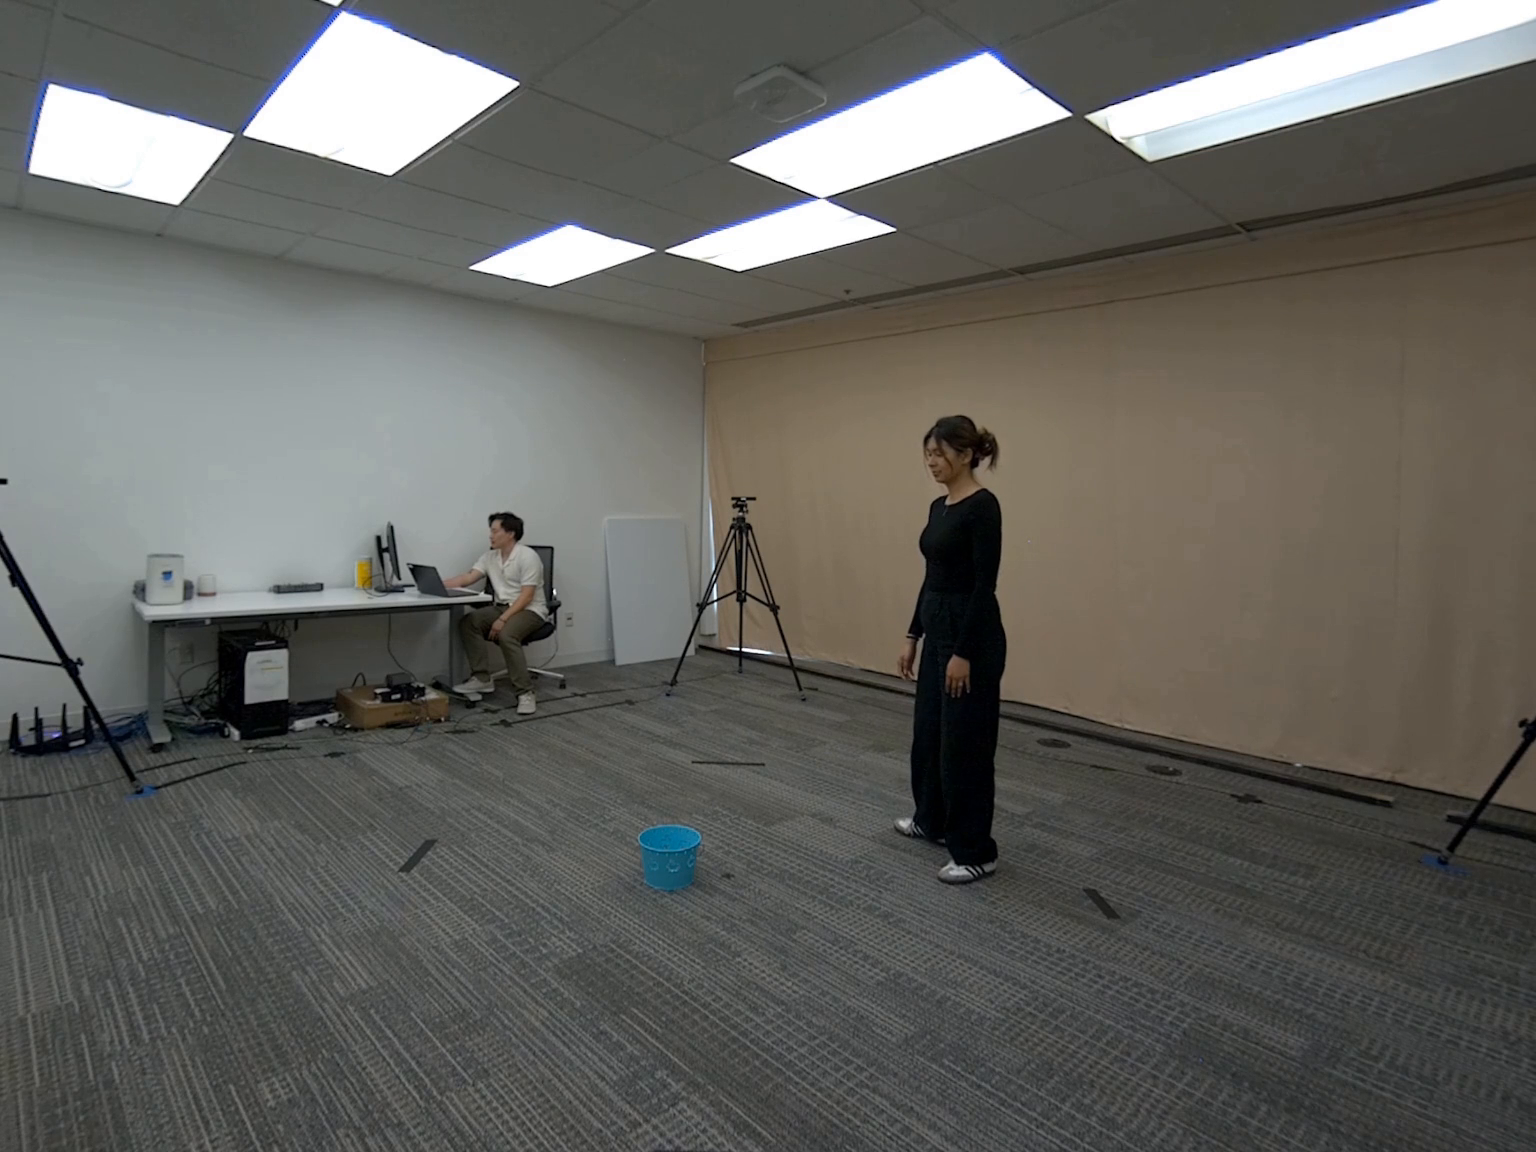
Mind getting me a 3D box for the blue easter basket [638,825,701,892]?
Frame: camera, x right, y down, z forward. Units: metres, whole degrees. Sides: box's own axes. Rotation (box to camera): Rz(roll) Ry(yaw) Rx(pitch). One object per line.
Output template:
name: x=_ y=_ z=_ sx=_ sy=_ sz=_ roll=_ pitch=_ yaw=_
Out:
blue easter basket: x=-0.360 y=1.026 z=3.070 sx=0.243 sy=0.155 sz=0.244 roll=1 pitch=5 yaw=-1
